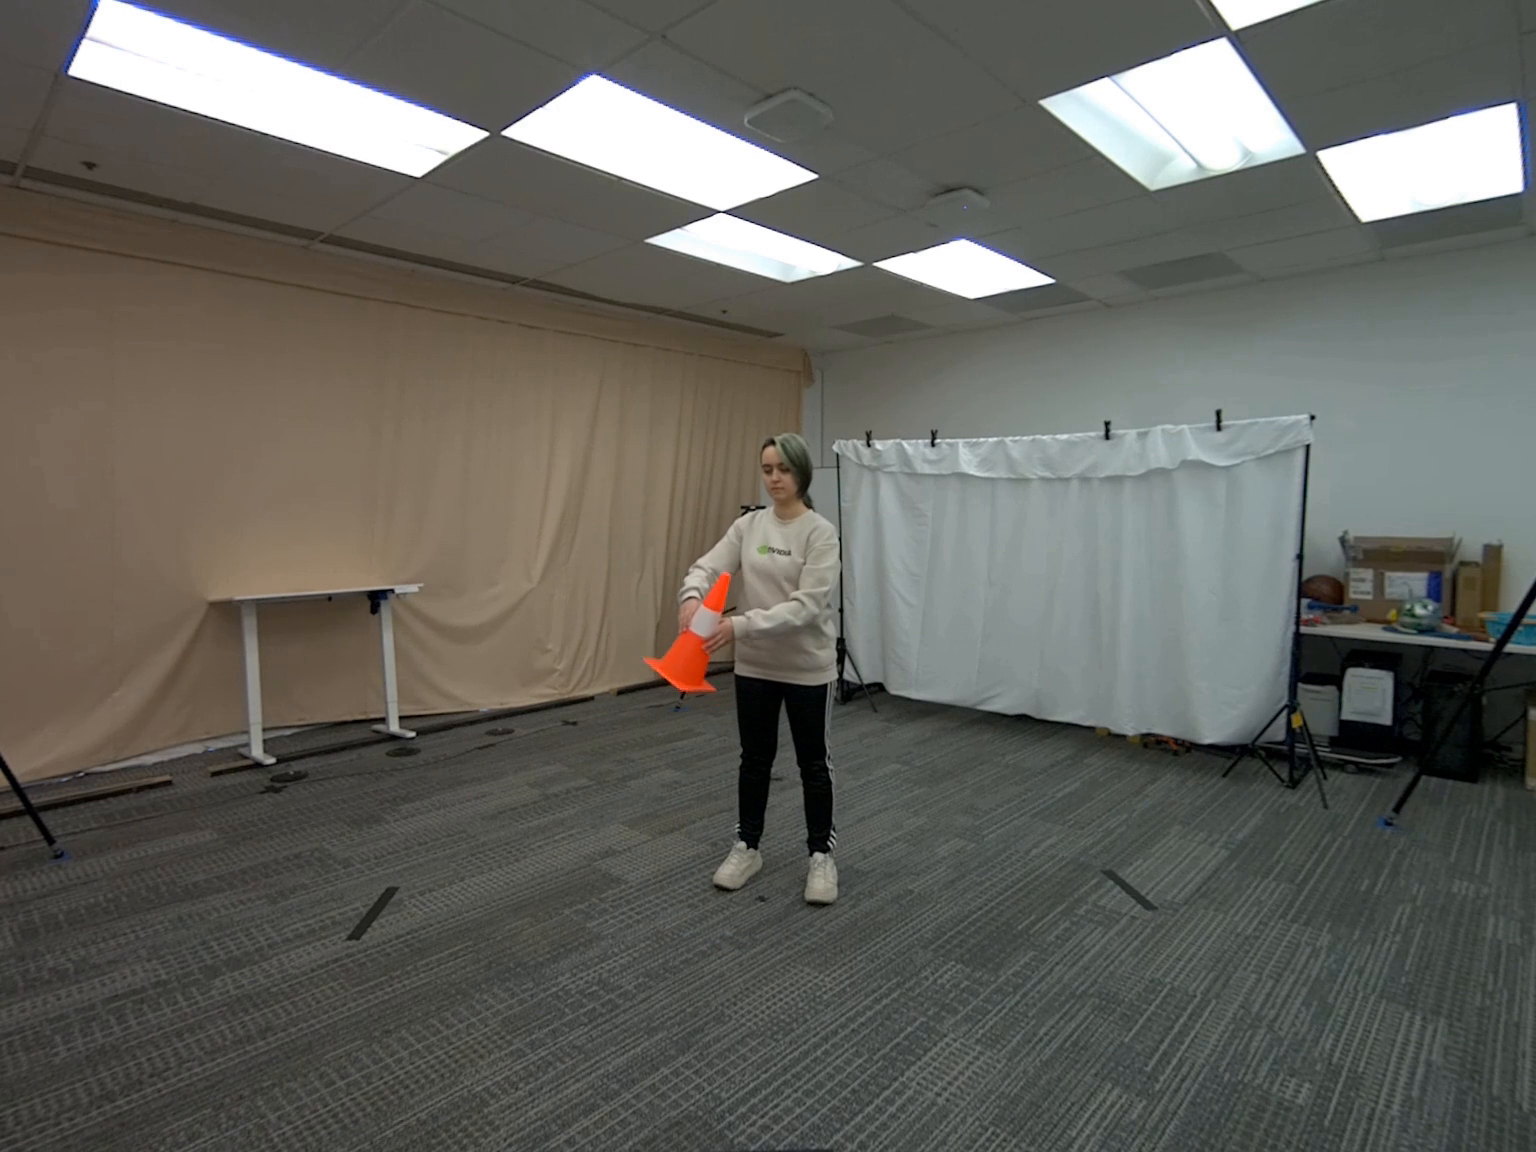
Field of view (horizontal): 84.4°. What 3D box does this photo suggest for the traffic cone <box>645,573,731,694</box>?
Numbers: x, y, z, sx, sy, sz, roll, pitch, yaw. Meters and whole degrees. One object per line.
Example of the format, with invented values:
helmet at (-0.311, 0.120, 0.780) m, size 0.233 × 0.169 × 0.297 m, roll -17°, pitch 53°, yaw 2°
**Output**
traffic cone at (-0.204, 0.160, 2.779) m, size 0.212 × 0.383 × 0.196 m, roll 32°, pitch 11°, yaw 36°
